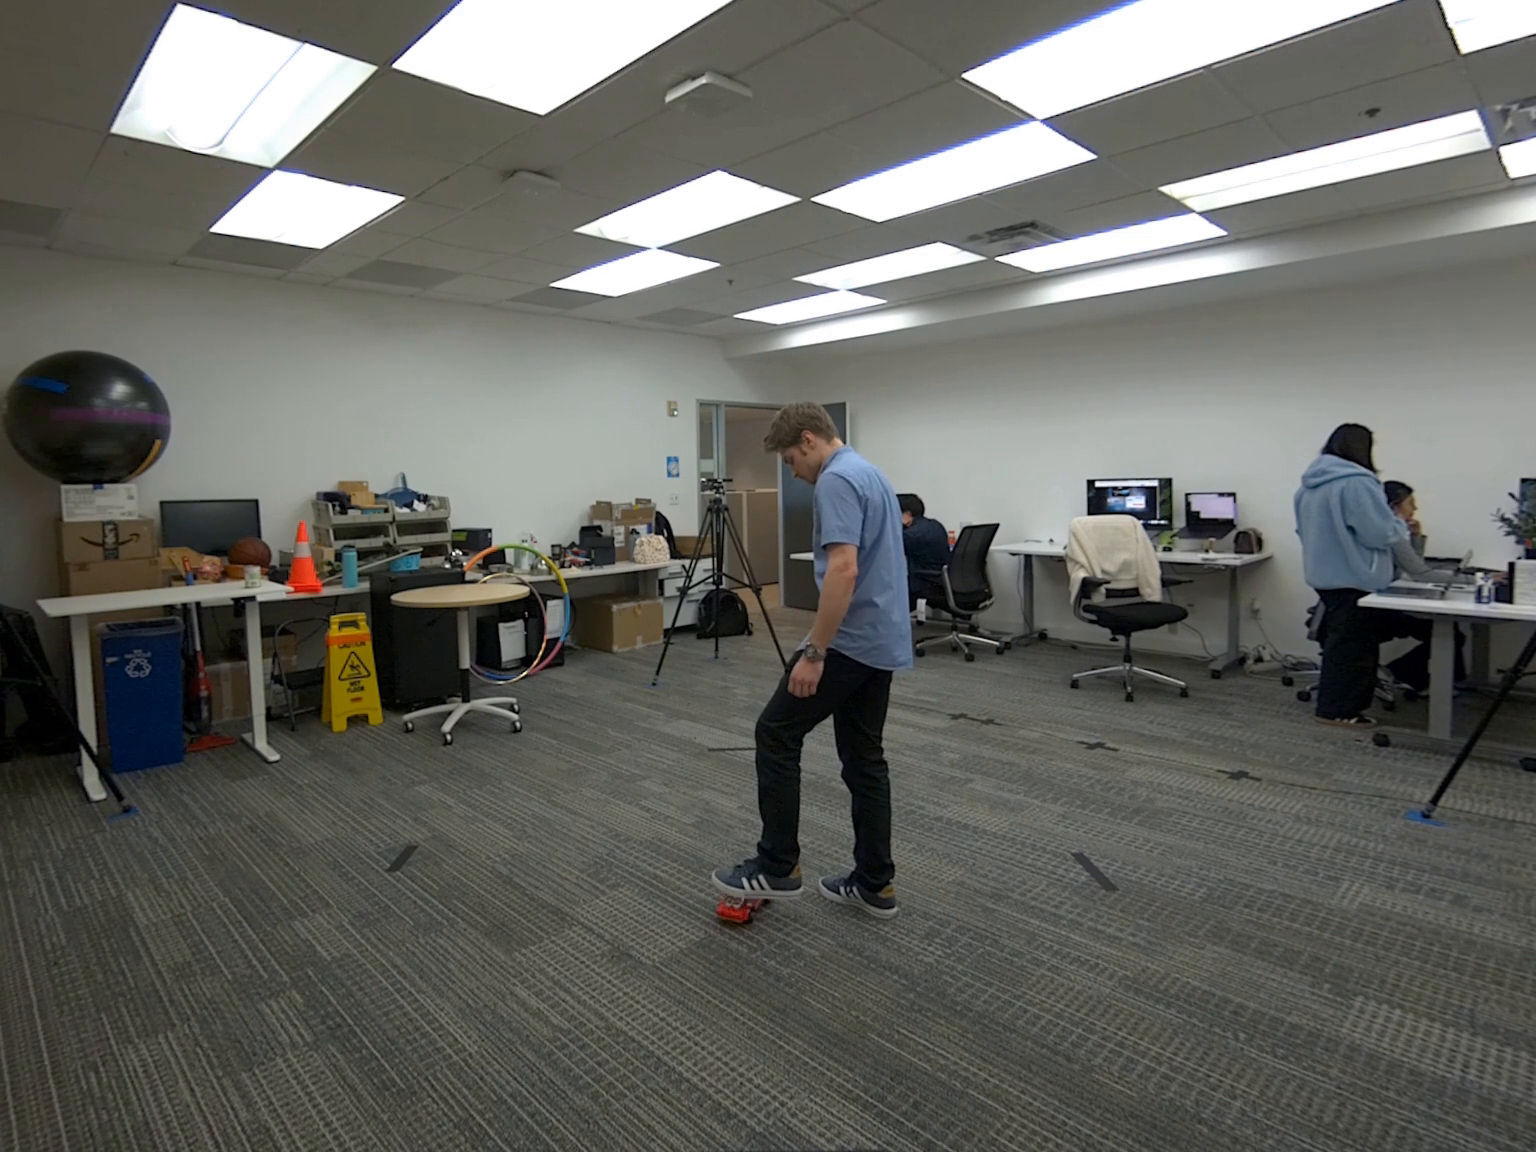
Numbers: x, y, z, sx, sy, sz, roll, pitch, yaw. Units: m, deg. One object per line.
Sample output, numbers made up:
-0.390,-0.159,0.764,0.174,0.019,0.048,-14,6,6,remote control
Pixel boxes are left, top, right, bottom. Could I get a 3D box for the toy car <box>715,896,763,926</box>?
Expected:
-0.076,1.055,2.762,0.133,0.083,0.248,2,-3,25,toy car
